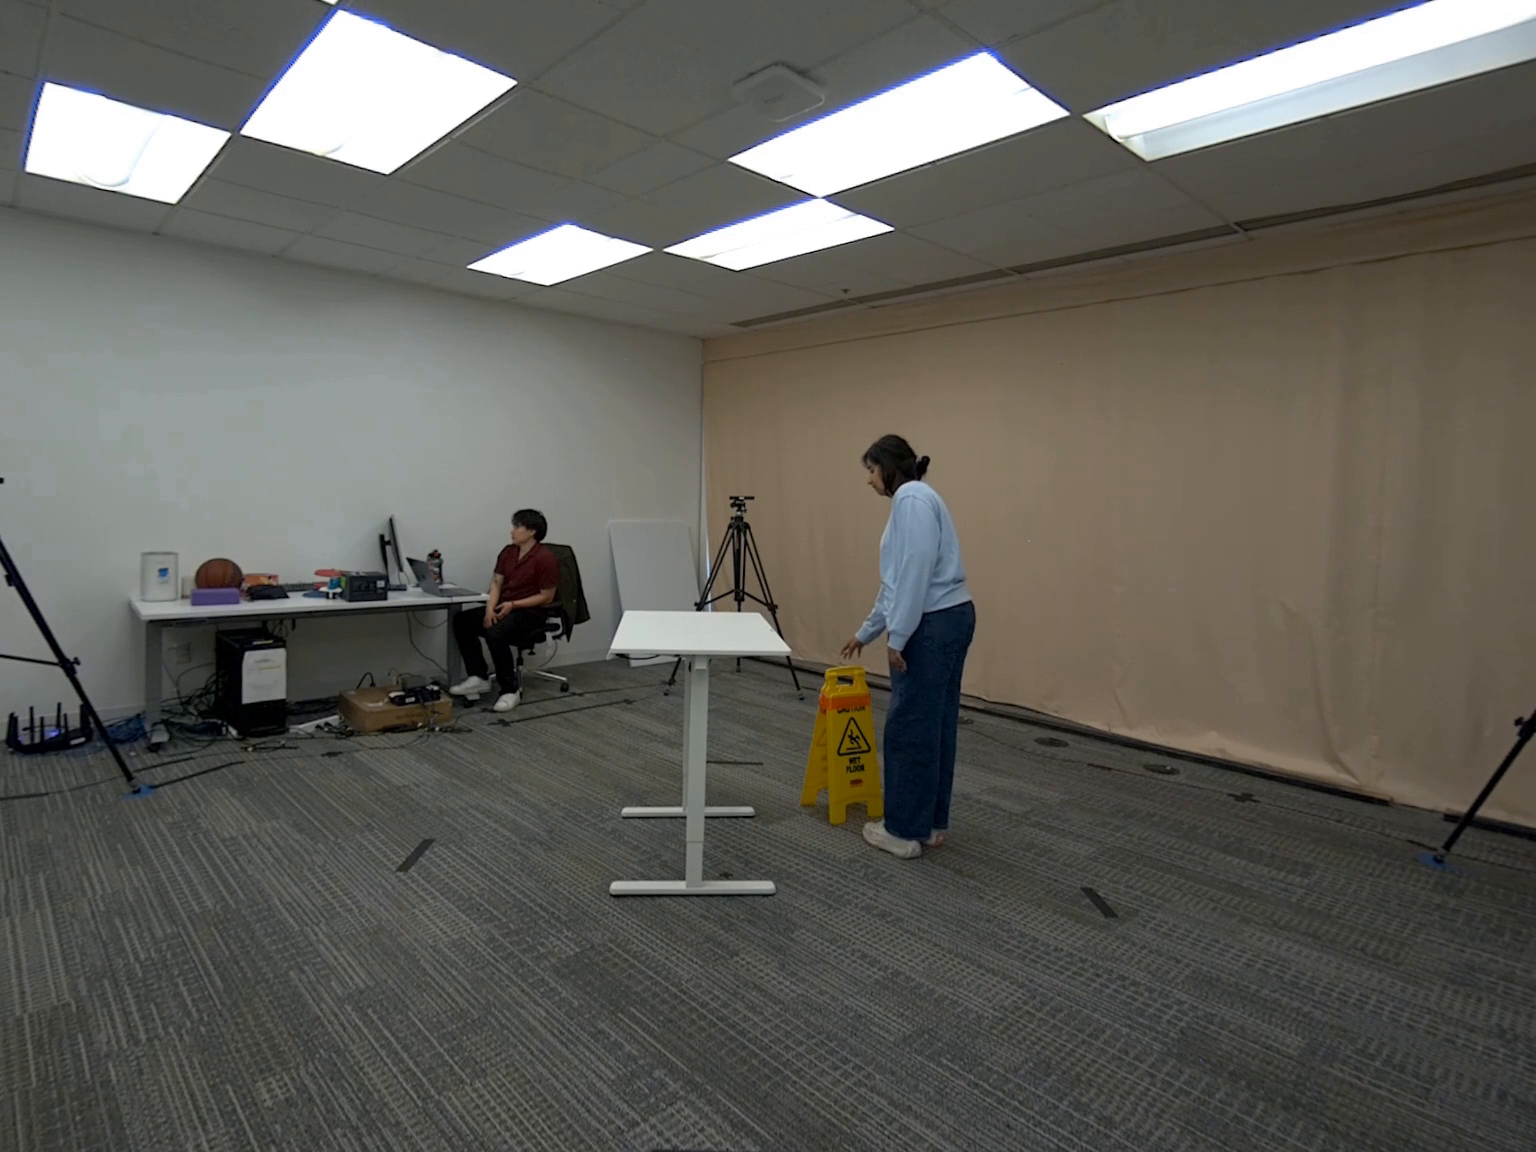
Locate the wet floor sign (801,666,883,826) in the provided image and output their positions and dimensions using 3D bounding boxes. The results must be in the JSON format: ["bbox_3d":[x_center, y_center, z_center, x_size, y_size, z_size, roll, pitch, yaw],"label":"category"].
[{"bbox_3d":[0.330,0.734,3.780,0.277,0.645,0.296,1,2,-28],"label":"wet floor sign"}]
